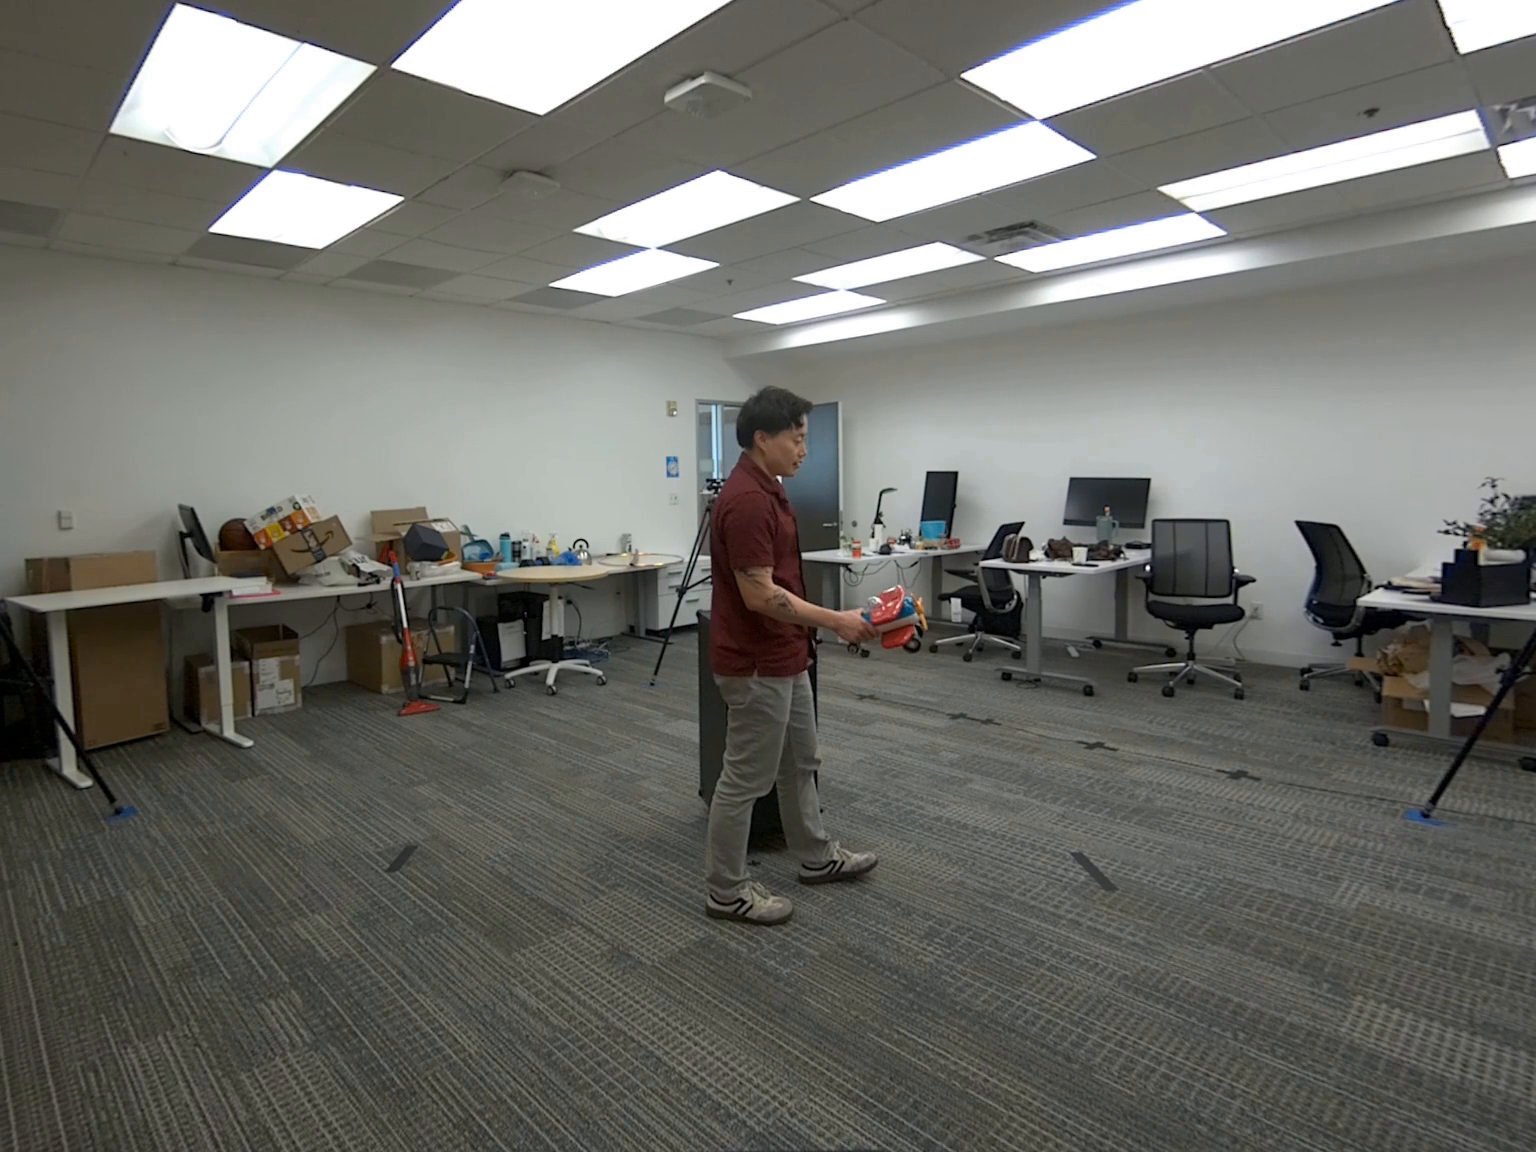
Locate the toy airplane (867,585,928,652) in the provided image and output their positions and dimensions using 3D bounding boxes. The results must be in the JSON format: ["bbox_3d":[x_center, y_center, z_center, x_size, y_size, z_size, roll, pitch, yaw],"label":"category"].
[{"bbox_3d":[0.336,0.146,2.487,0.257,0.154,0.257,-14,16,-10],"label":"toy airplane"}]
